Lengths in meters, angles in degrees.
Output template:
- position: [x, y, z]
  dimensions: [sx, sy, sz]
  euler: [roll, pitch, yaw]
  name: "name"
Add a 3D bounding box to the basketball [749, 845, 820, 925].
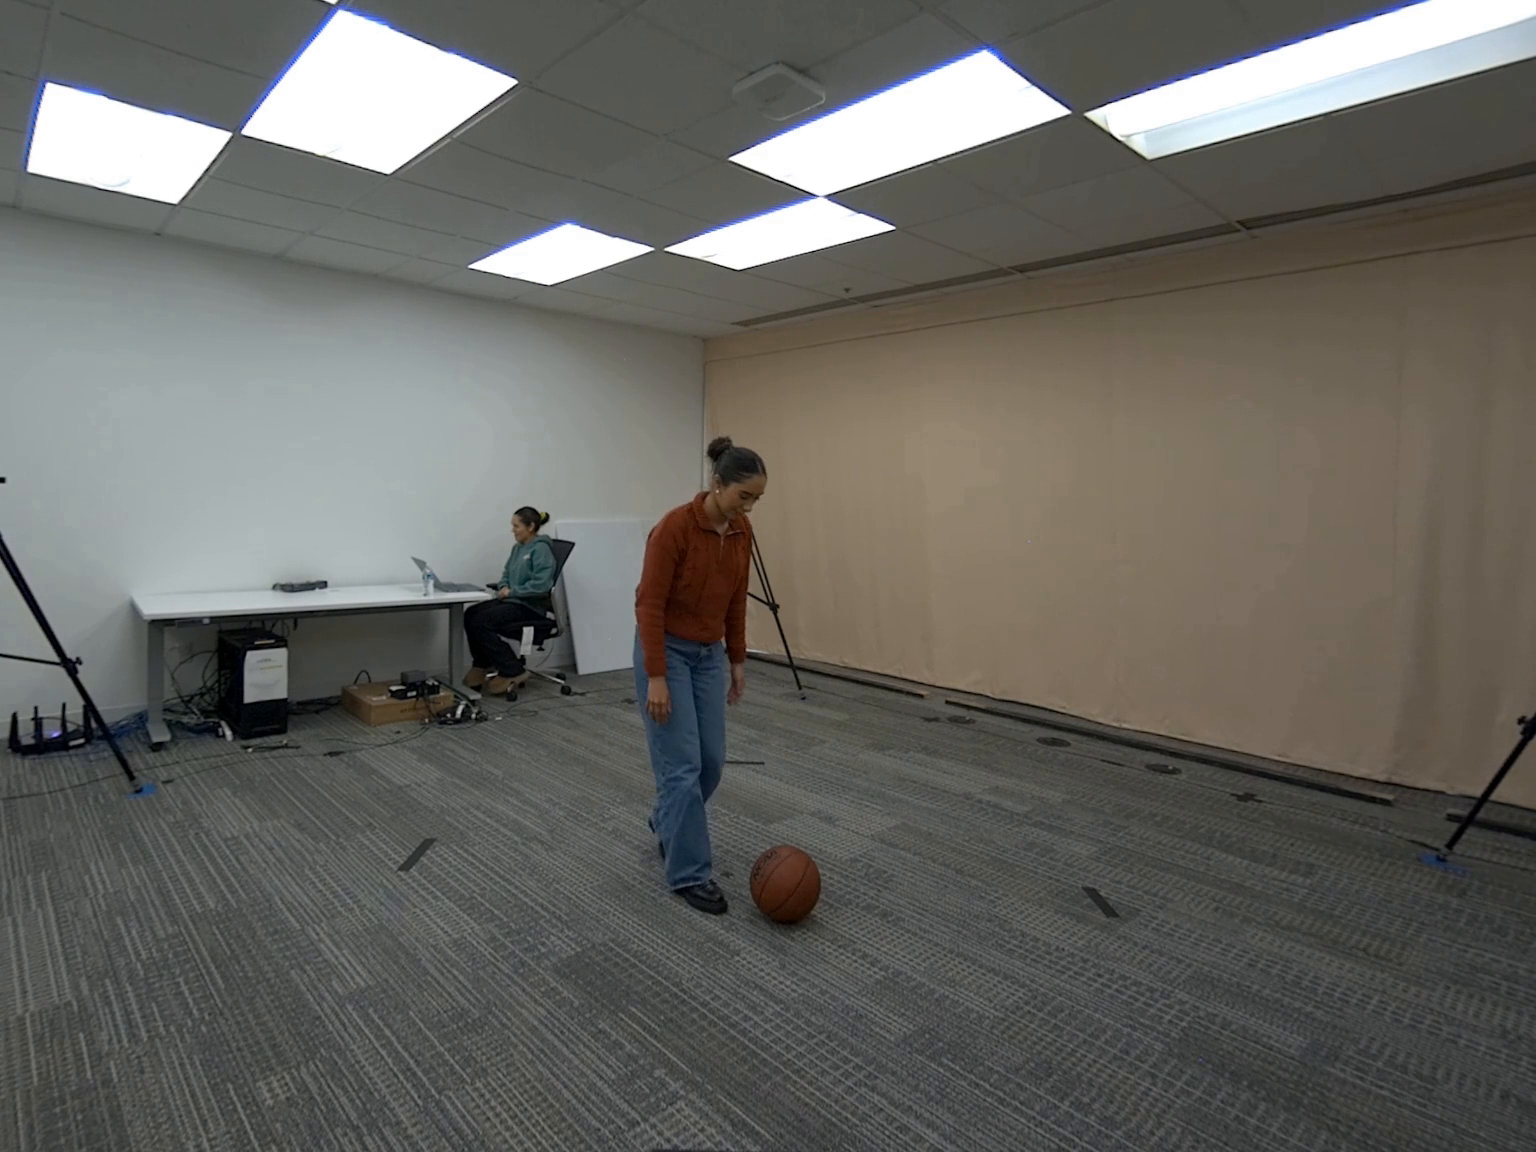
- position: [0.048, 1.010, 2.780]
  dimensions: [0.236, 0.235, 0.237]
  euler: [1, 4, -1]
  name: "basketball"
